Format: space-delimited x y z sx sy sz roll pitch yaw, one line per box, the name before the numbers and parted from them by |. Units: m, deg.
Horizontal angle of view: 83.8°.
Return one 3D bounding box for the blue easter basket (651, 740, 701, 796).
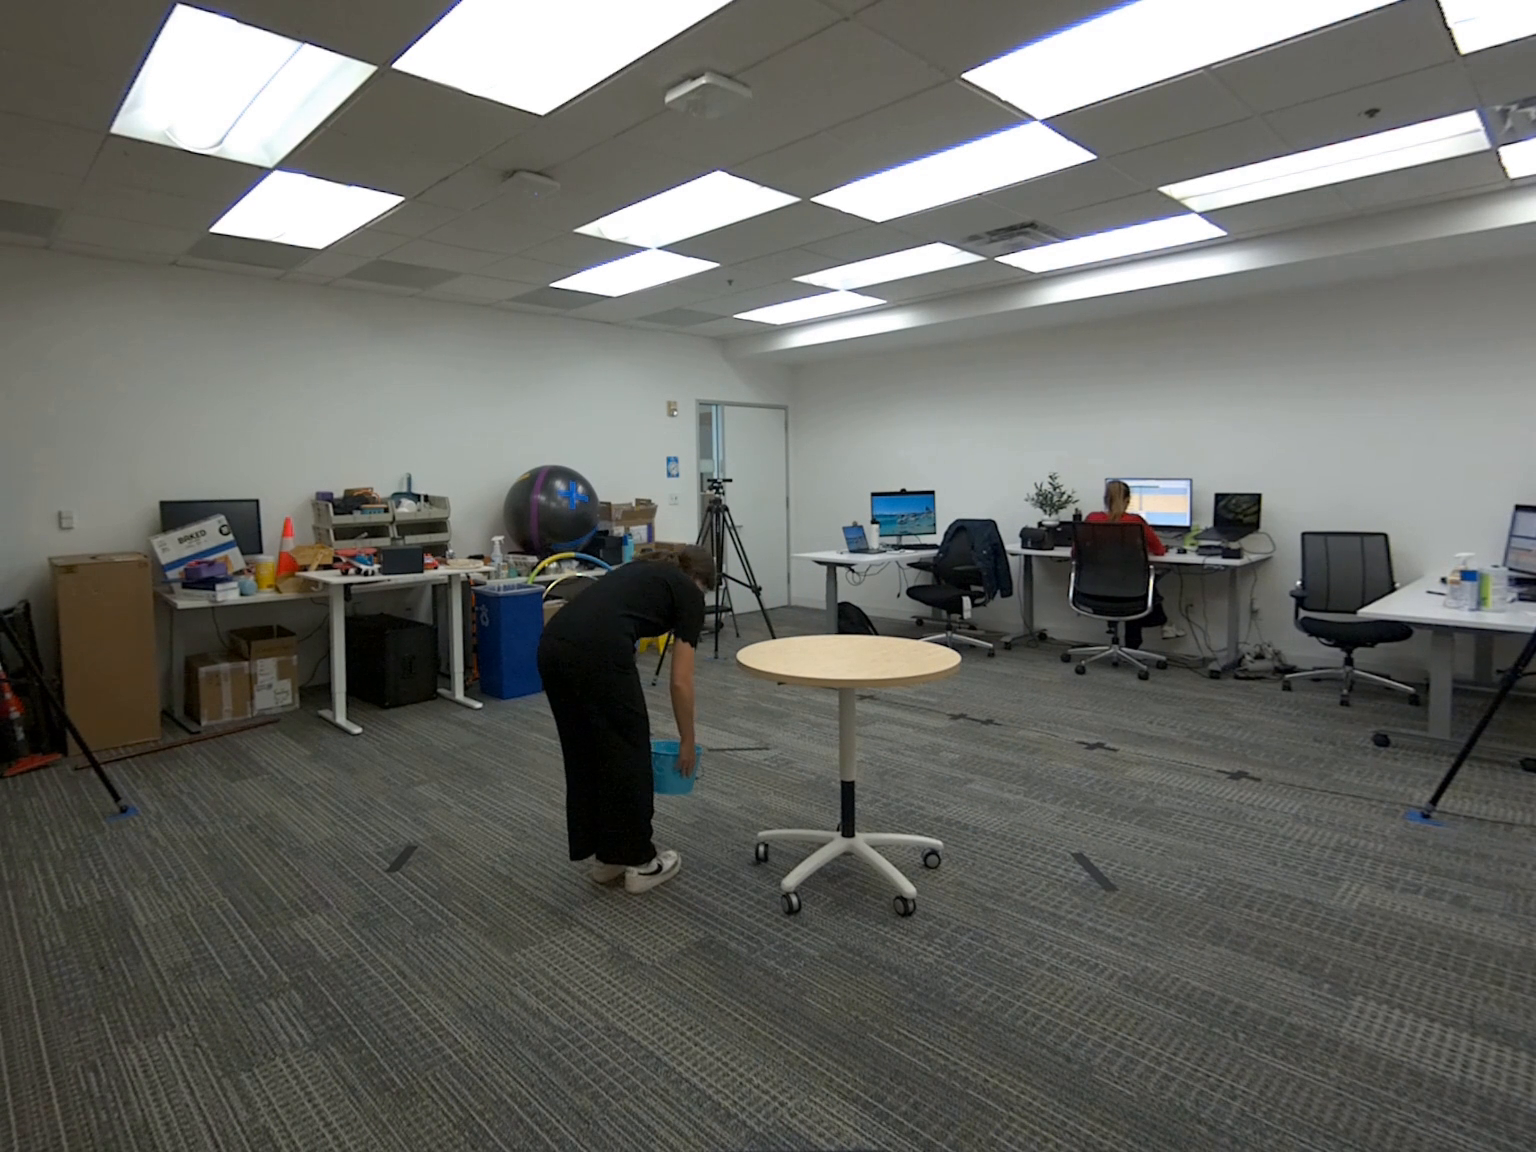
blue easter basket | -0.351 0.705 3.144 0.243 0.156 0.243 4 -1 -2
